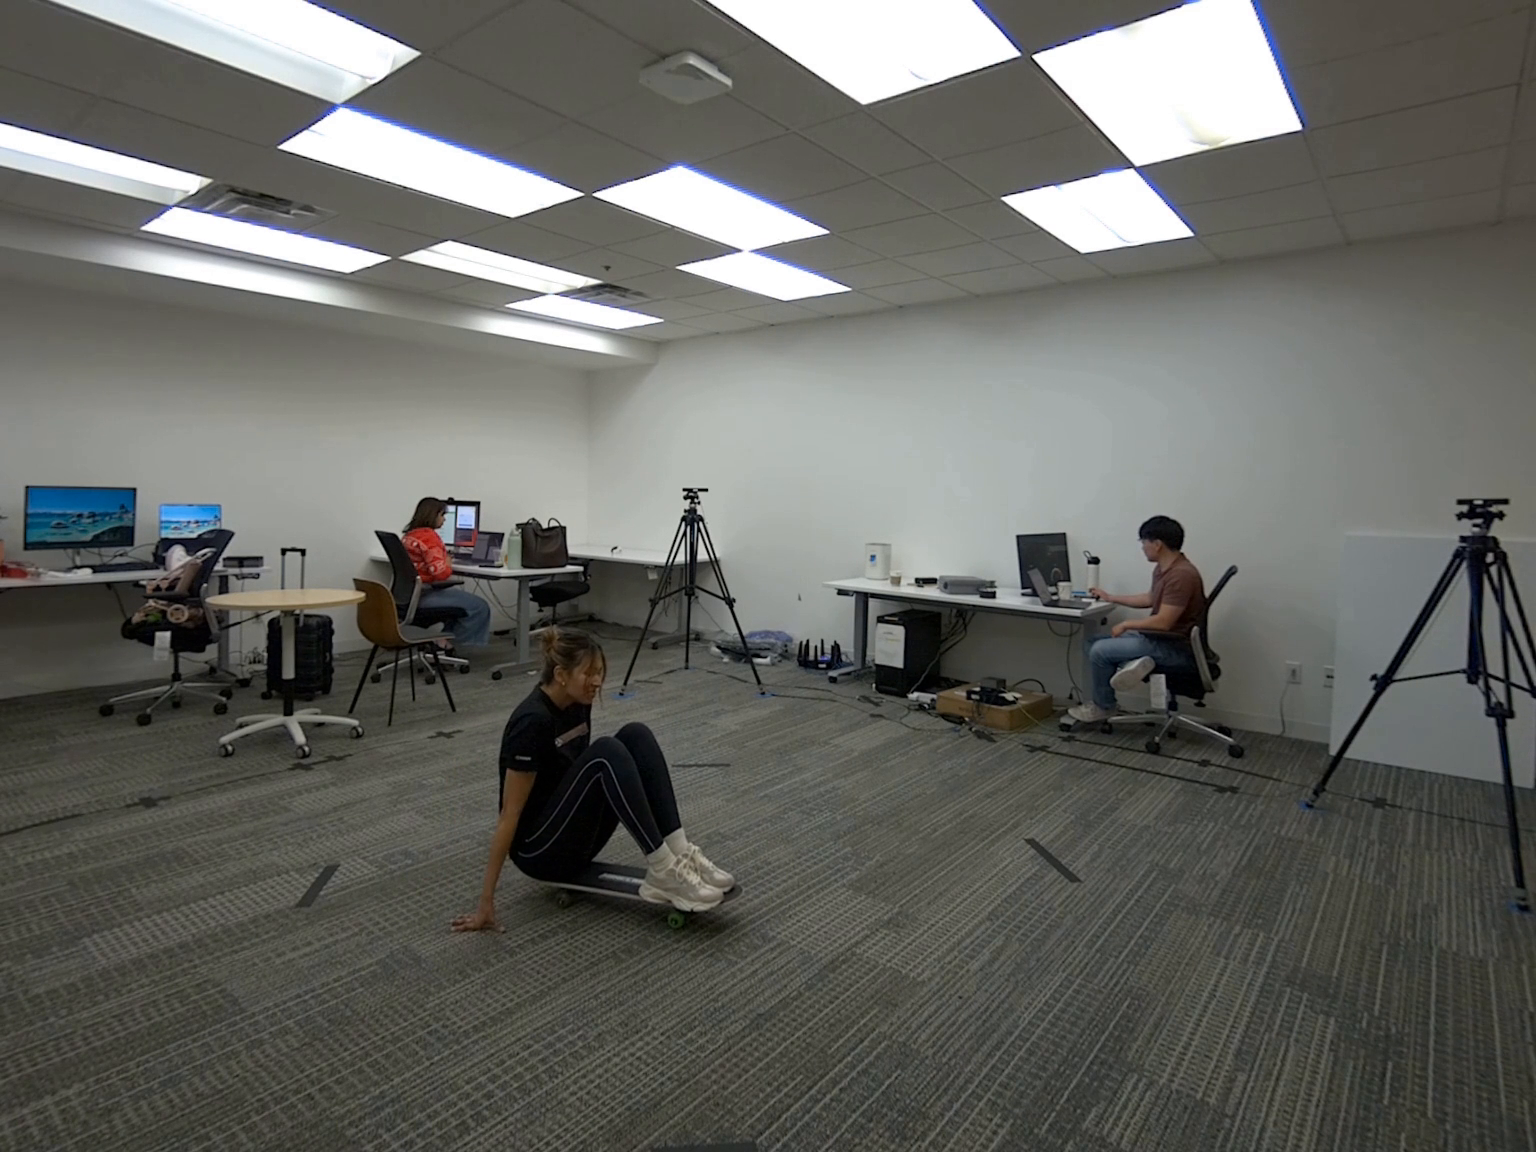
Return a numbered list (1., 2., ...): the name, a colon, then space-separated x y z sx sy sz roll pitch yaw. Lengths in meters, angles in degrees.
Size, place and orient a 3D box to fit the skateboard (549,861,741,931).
1. skateboard: -0.476 1.052 2.807 0.799 0.110 0.191 2 7 16
